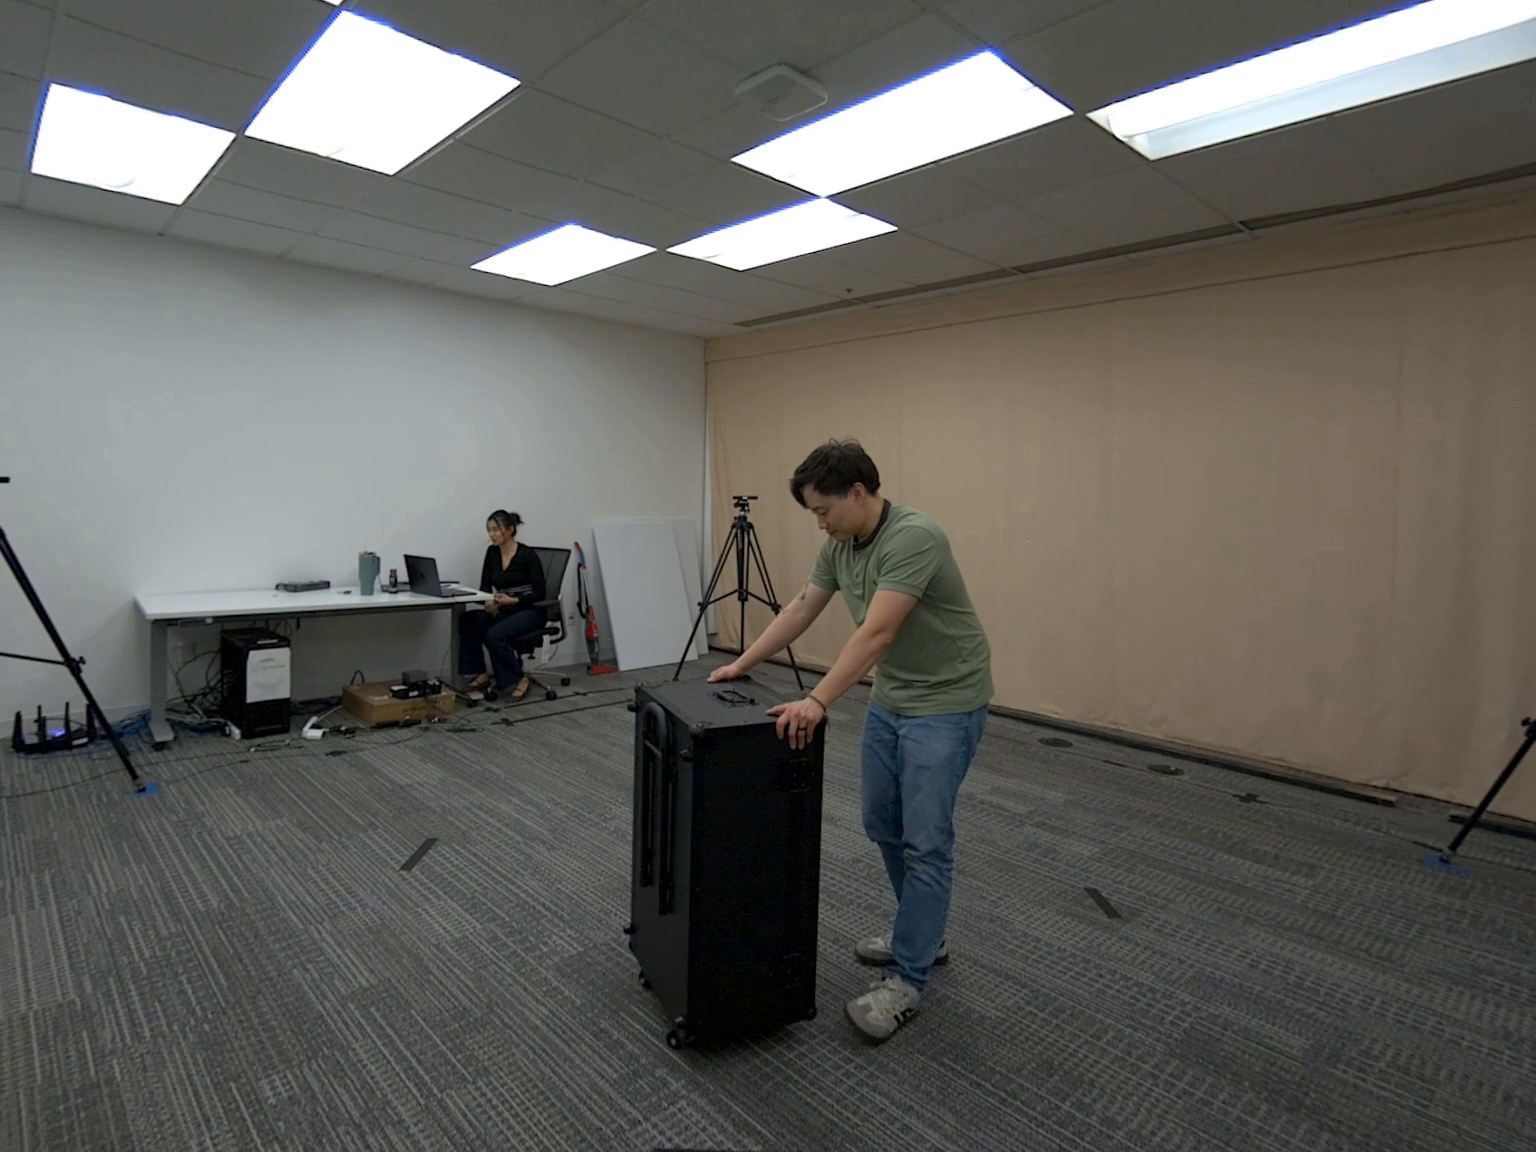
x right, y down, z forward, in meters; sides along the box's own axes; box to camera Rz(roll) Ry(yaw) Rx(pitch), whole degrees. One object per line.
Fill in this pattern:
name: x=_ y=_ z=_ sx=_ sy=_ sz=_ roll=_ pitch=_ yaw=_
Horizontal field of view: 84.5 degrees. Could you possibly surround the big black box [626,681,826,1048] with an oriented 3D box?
big black box: x=-0.141 y=0.758 z=2.262 sx=0.389 sy=0.859 sz=0.532 roll=-1 pitch=5 yaw=-24
